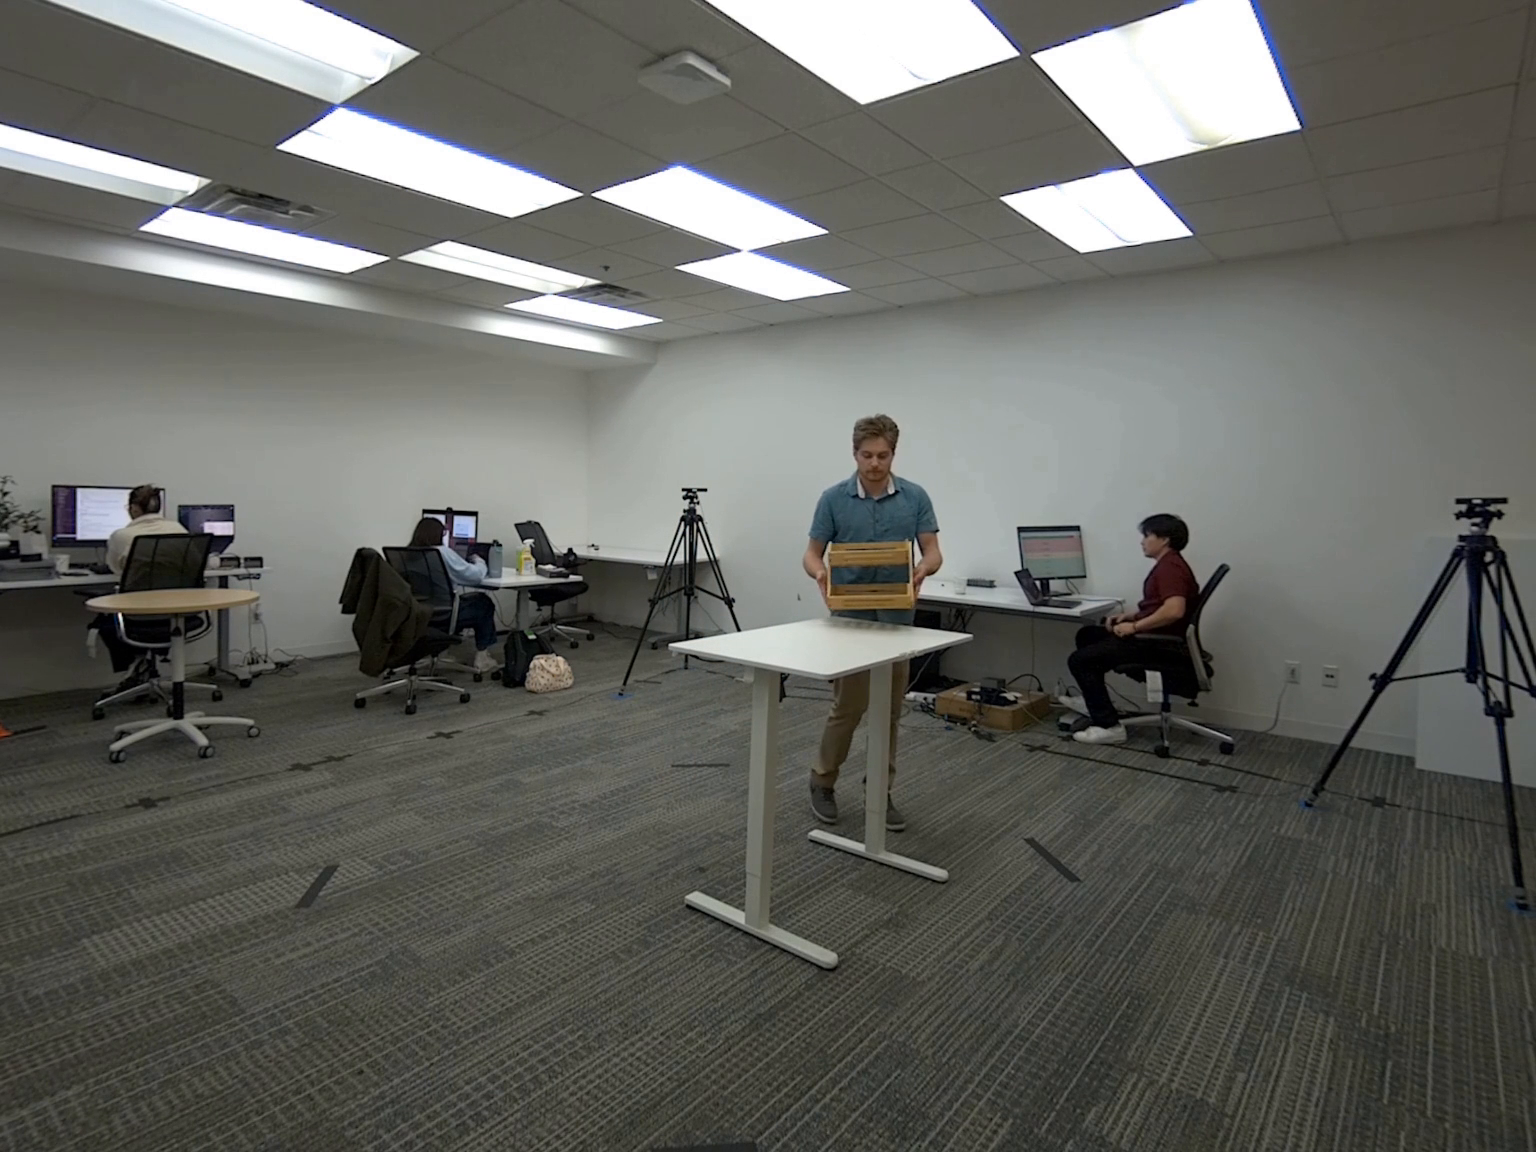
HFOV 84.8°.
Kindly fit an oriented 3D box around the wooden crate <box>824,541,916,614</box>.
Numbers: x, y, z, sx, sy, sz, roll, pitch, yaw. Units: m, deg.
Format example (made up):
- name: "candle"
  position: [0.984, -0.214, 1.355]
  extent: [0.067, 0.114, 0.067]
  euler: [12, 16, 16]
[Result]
- name: "wooden crate"
  position: [0.390, -0.014, 3.285]
  extent: [0.329, 0.274, 0.297]
  euler: [-1, -3, 11]
